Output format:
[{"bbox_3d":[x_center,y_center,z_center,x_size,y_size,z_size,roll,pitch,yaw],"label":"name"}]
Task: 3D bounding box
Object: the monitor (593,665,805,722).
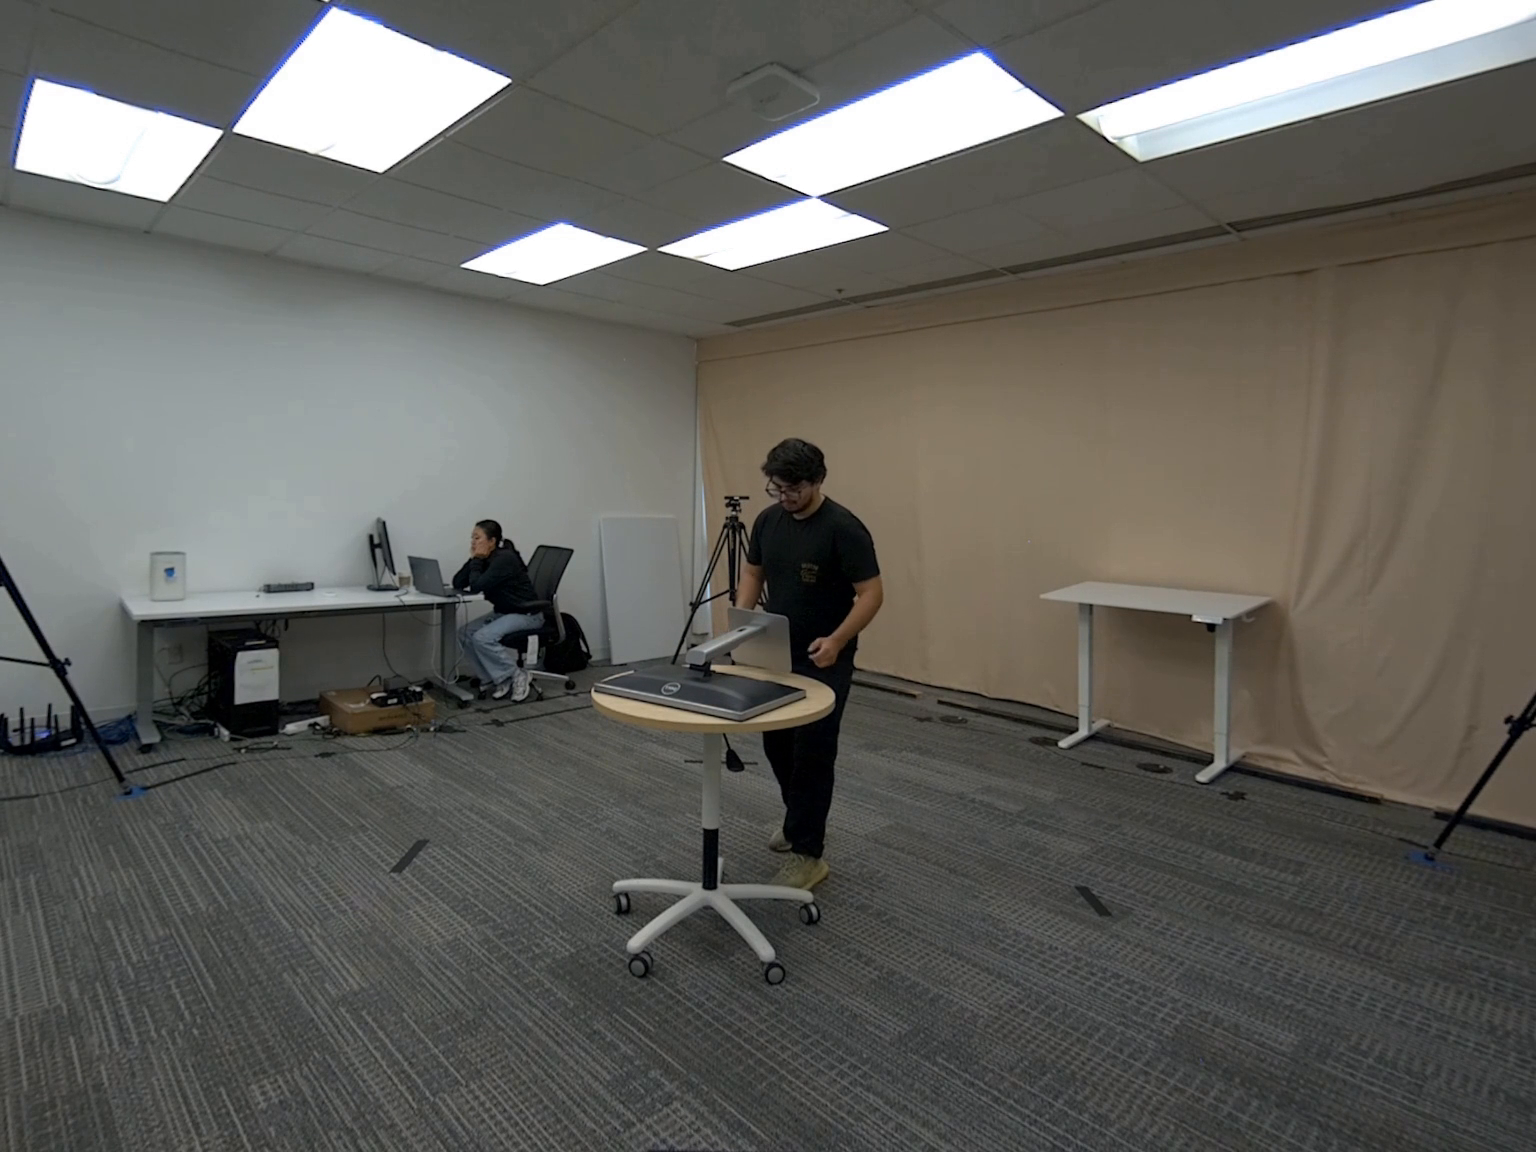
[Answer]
[{"bbox_3d":[-0.177,0.267,2.663,0.579,0.208,0.545,5,12,33],"label":"monitor"}]
